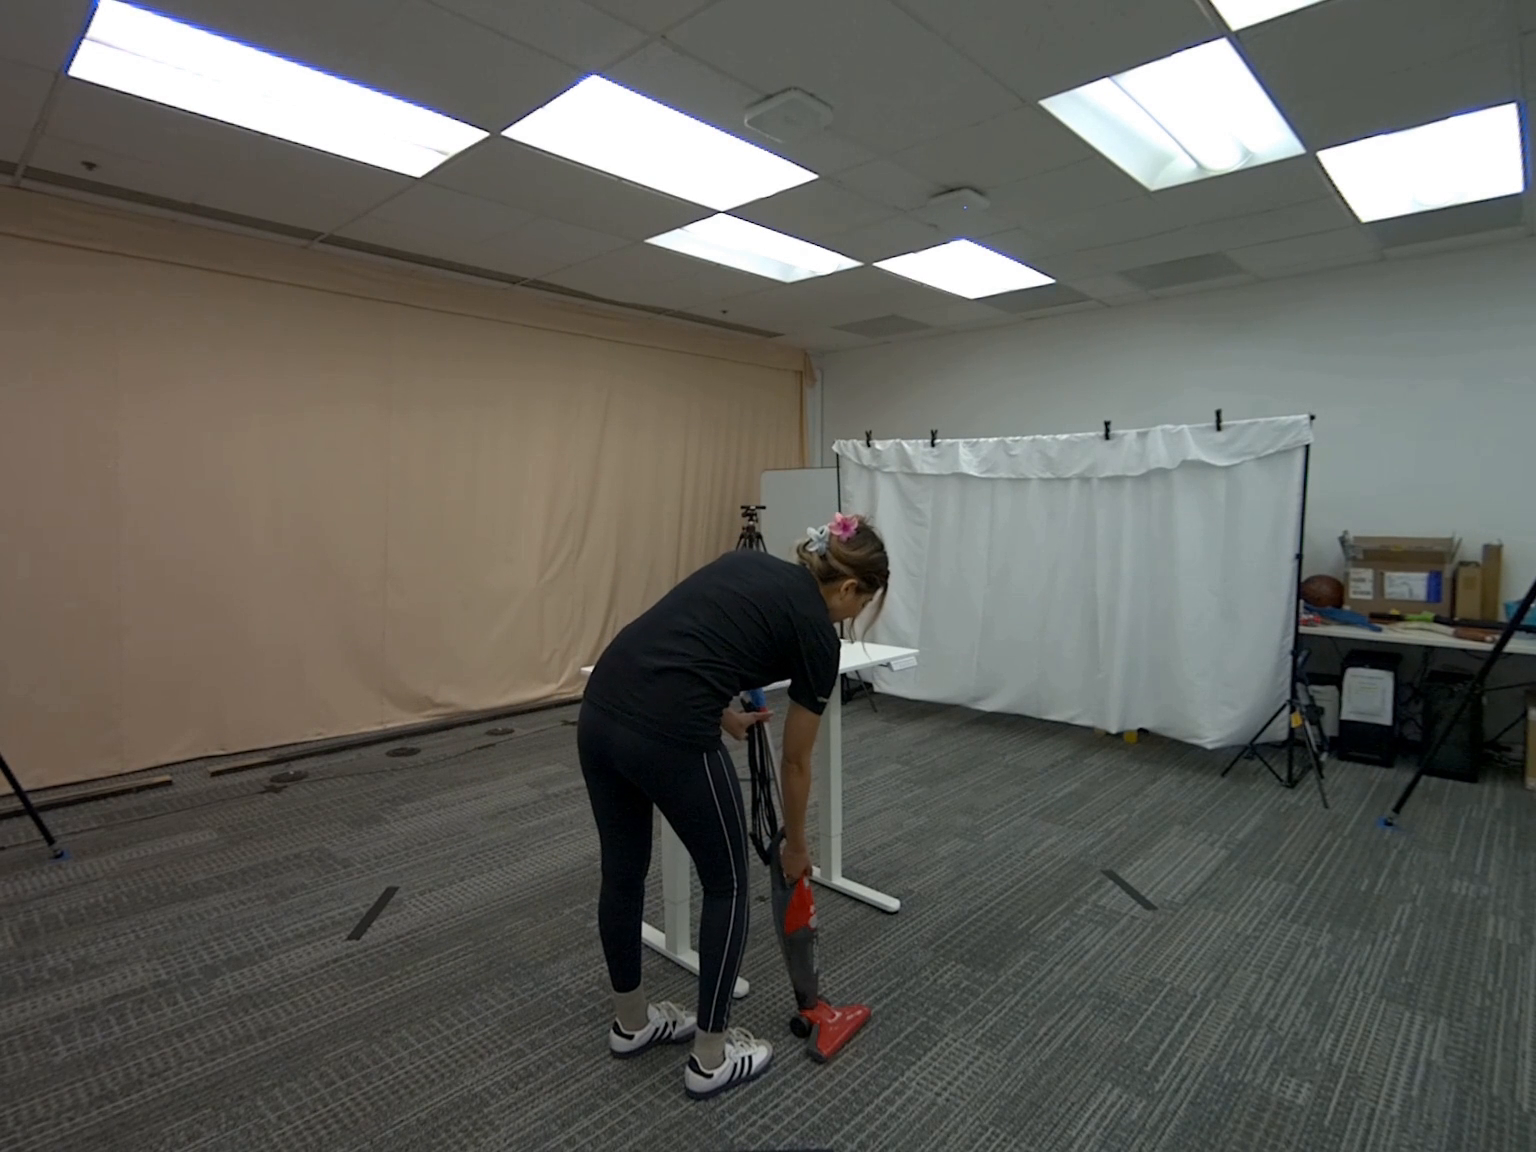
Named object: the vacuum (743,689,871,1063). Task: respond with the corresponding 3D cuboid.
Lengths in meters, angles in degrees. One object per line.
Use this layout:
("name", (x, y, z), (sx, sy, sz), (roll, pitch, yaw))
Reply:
("vacuum", (0.037, 0.705, 2.290), (0.147, 1.057, 0.245), (-20, -10, 38))
